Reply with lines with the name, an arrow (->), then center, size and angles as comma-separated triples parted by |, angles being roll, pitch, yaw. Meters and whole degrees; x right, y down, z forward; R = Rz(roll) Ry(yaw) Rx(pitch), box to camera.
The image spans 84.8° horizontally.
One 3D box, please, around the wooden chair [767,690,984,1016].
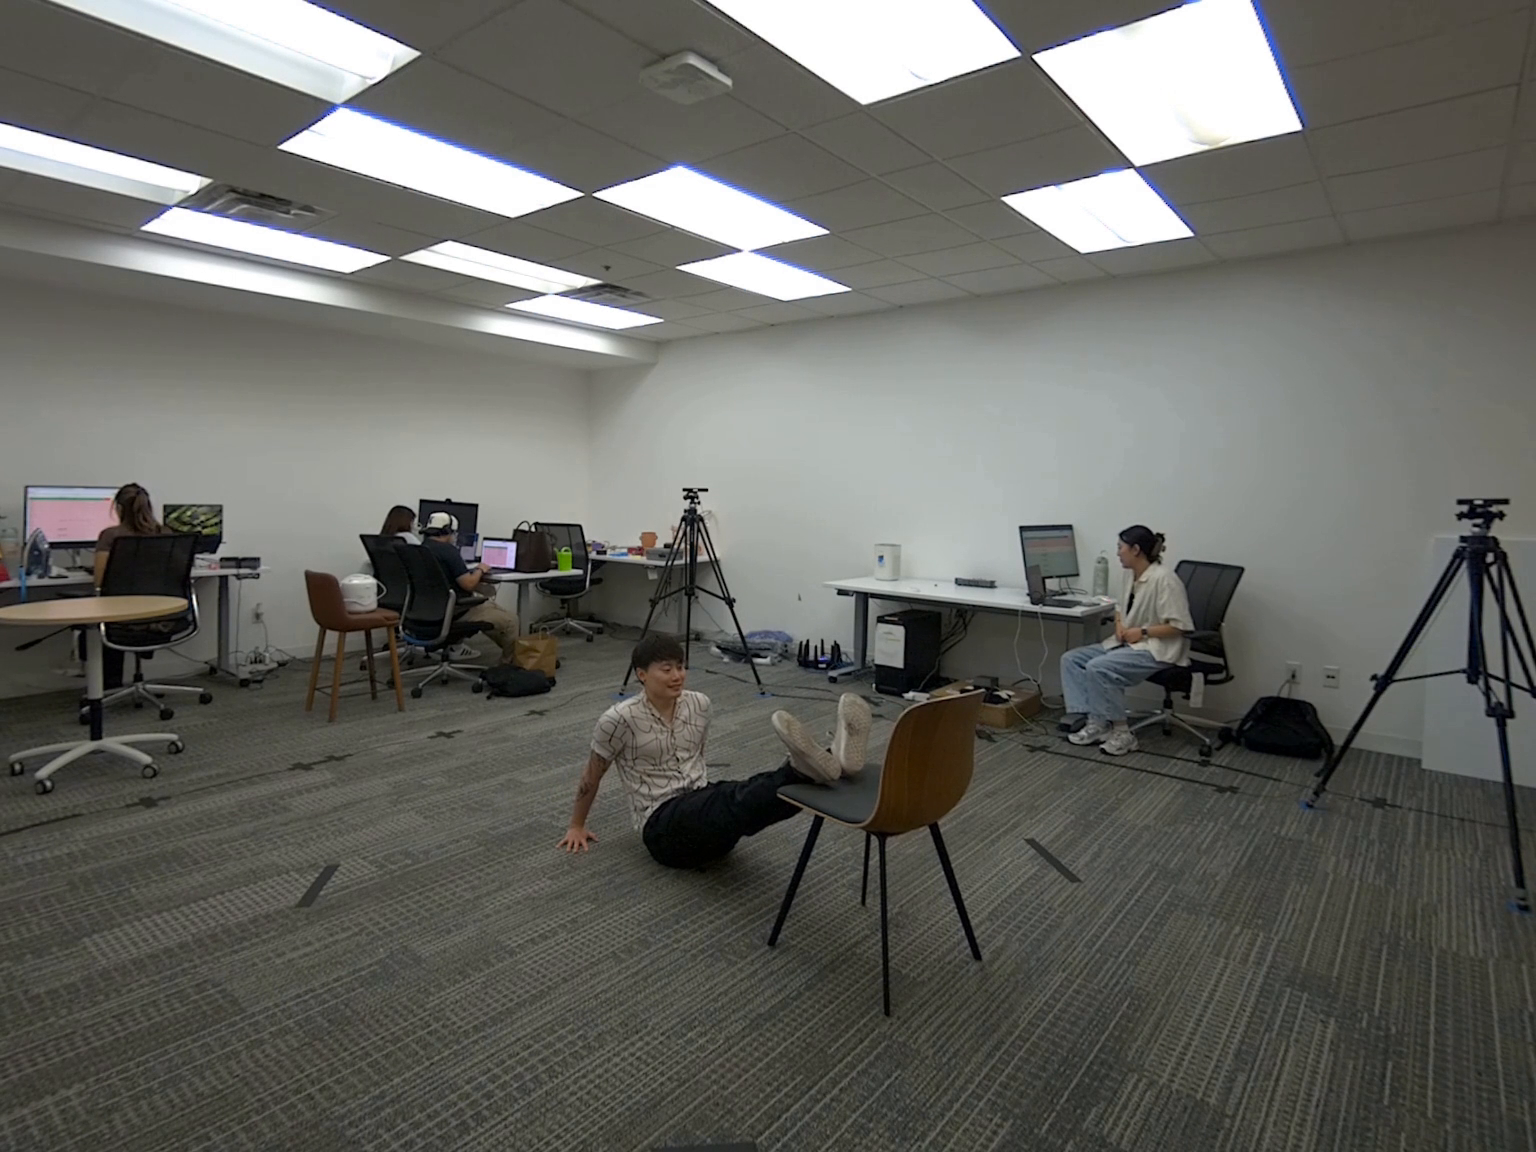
wooden chair -> 0.320, 0.706, 2.549 | 0.463, 0.872, 0.542 | -2, 9, -43
